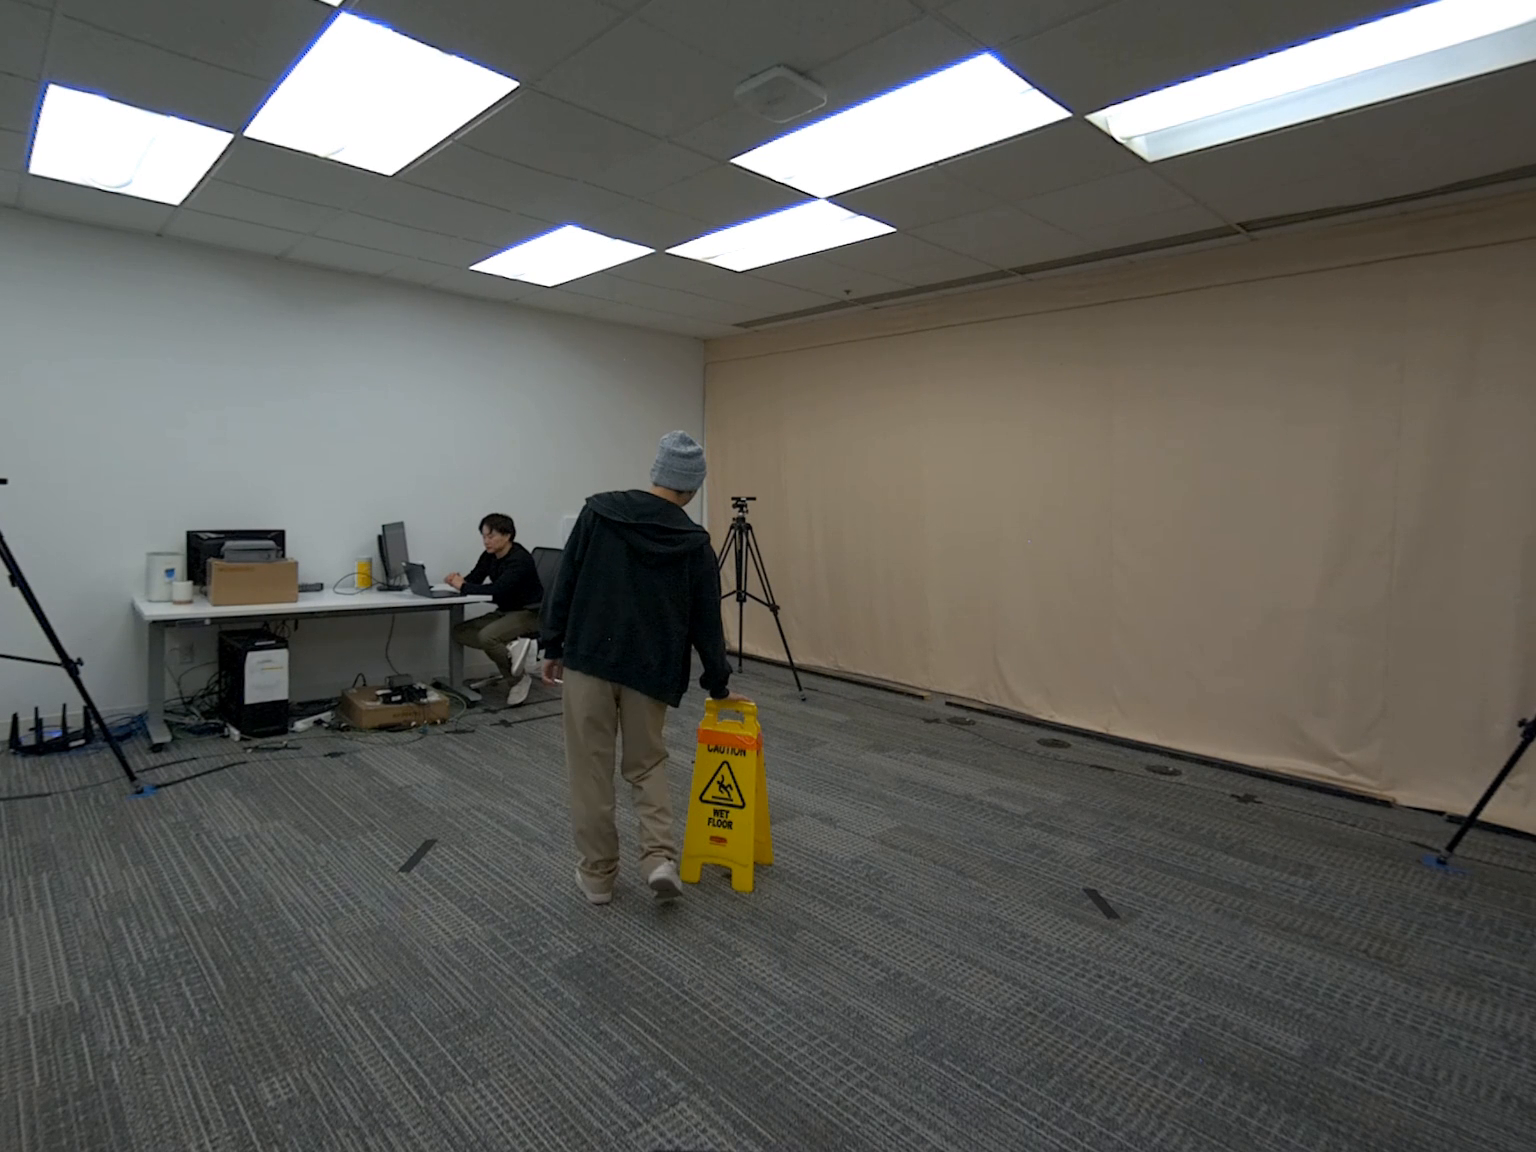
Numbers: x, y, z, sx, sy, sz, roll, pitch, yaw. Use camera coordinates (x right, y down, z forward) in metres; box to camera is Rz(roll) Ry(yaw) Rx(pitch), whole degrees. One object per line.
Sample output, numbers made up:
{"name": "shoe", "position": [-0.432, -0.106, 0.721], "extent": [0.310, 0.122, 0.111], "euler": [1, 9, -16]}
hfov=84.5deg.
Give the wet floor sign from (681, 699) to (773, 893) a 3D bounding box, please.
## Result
{"name": "wet floor sign", "position": [-0.149, 0.778, 3.127], "extent": [0.286, 0.645, 0.286], "euler": [3, 3, 17]}
